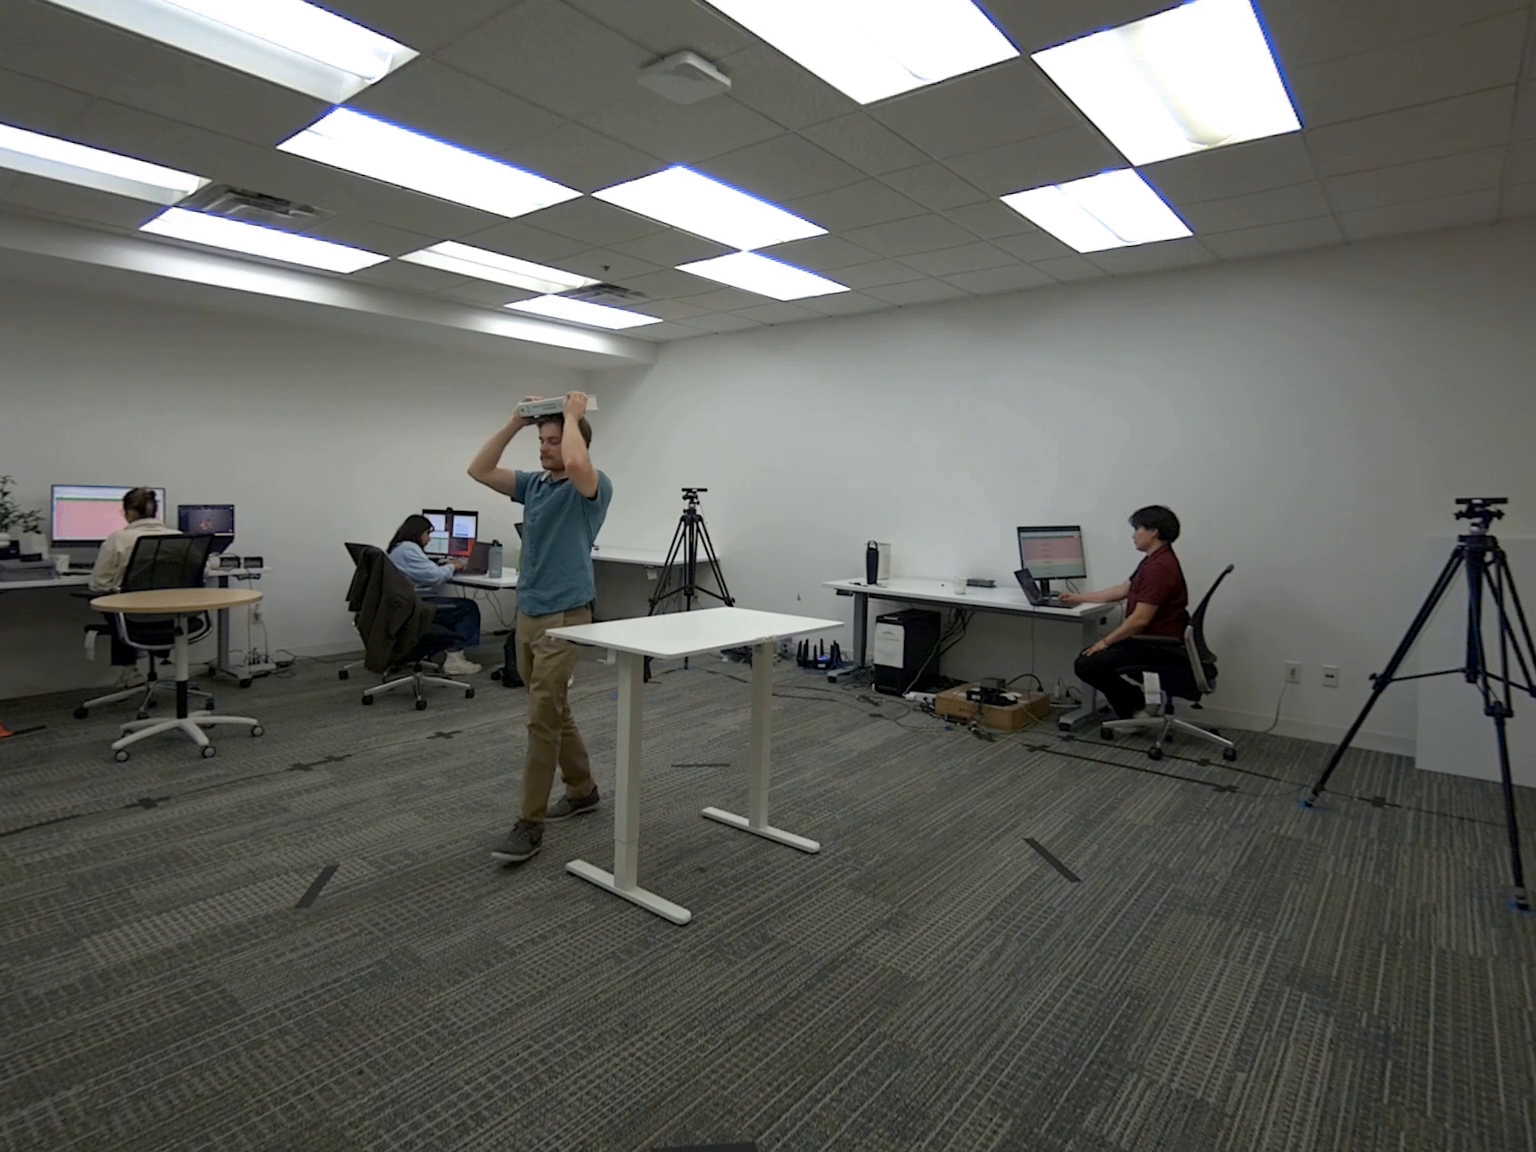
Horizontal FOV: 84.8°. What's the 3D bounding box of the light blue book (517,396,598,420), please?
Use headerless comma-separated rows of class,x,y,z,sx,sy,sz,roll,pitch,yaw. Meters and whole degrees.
light blue book,-0.847,-0.681,3.393,0.269,0.058,0.187,1,12,33
